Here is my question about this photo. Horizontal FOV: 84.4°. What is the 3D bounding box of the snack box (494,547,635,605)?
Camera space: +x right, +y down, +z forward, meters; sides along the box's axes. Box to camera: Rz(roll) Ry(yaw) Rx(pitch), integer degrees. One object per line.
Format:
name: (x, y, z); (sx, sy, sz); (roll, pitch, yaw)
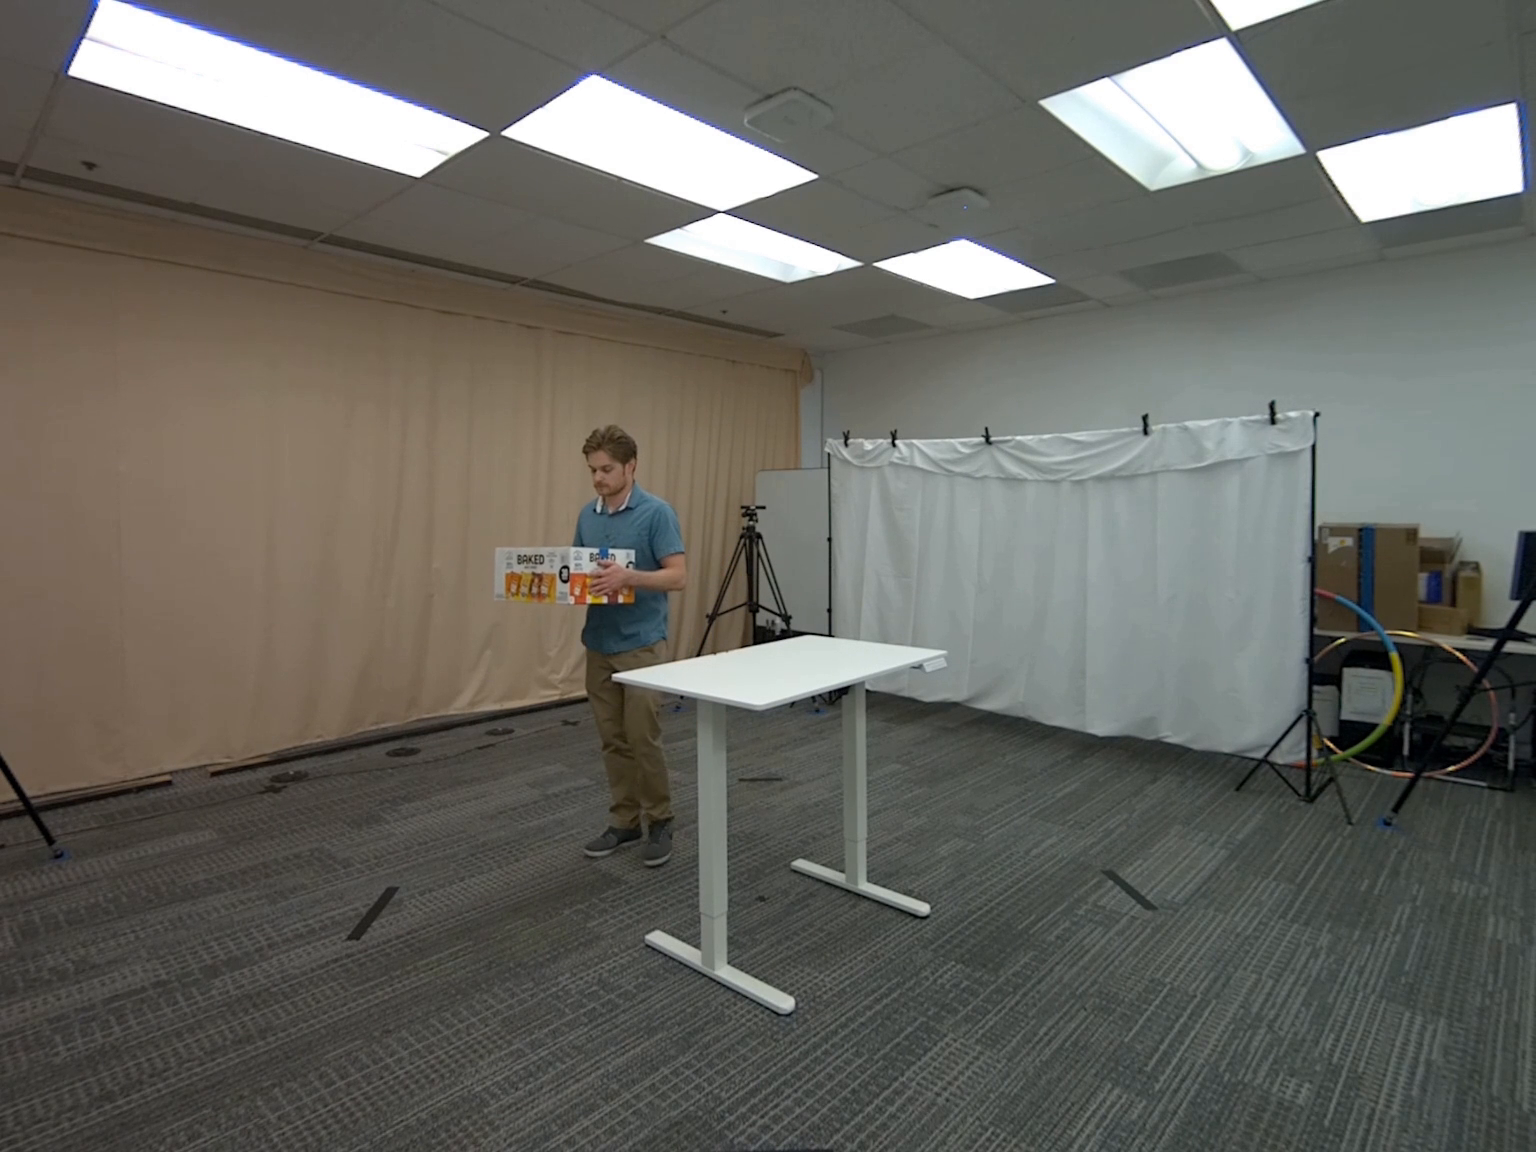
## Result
snack box: (-0.767, -0.002, 3.195); (0.417, 0.206, 0.330); (0, -1, 35)
